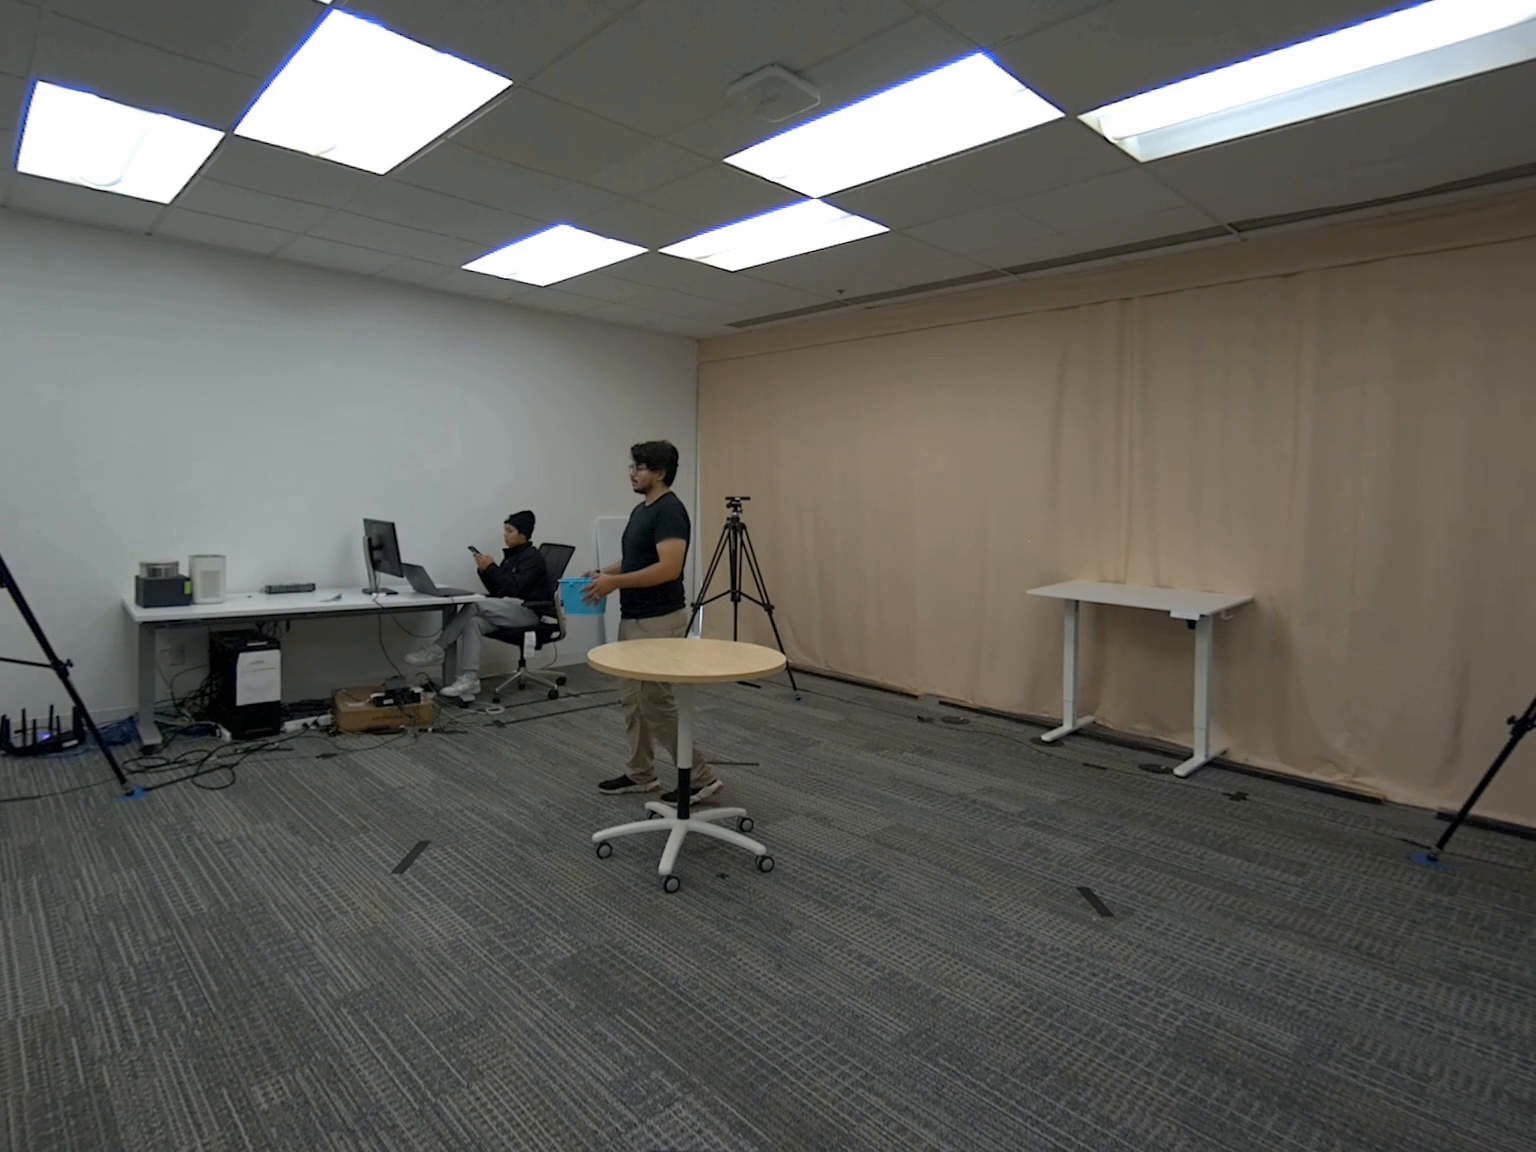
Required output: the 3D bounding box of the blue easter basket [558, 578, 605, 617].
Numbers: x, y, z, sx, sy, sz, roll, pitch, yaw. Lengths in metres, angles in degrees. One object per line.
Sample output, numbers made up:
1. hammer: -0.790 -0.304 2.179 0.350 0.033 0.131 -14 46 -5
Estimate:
1. blue easter basket: -0.850 0.090 3.799 0.243 0.156 0.244 0 2 -1
